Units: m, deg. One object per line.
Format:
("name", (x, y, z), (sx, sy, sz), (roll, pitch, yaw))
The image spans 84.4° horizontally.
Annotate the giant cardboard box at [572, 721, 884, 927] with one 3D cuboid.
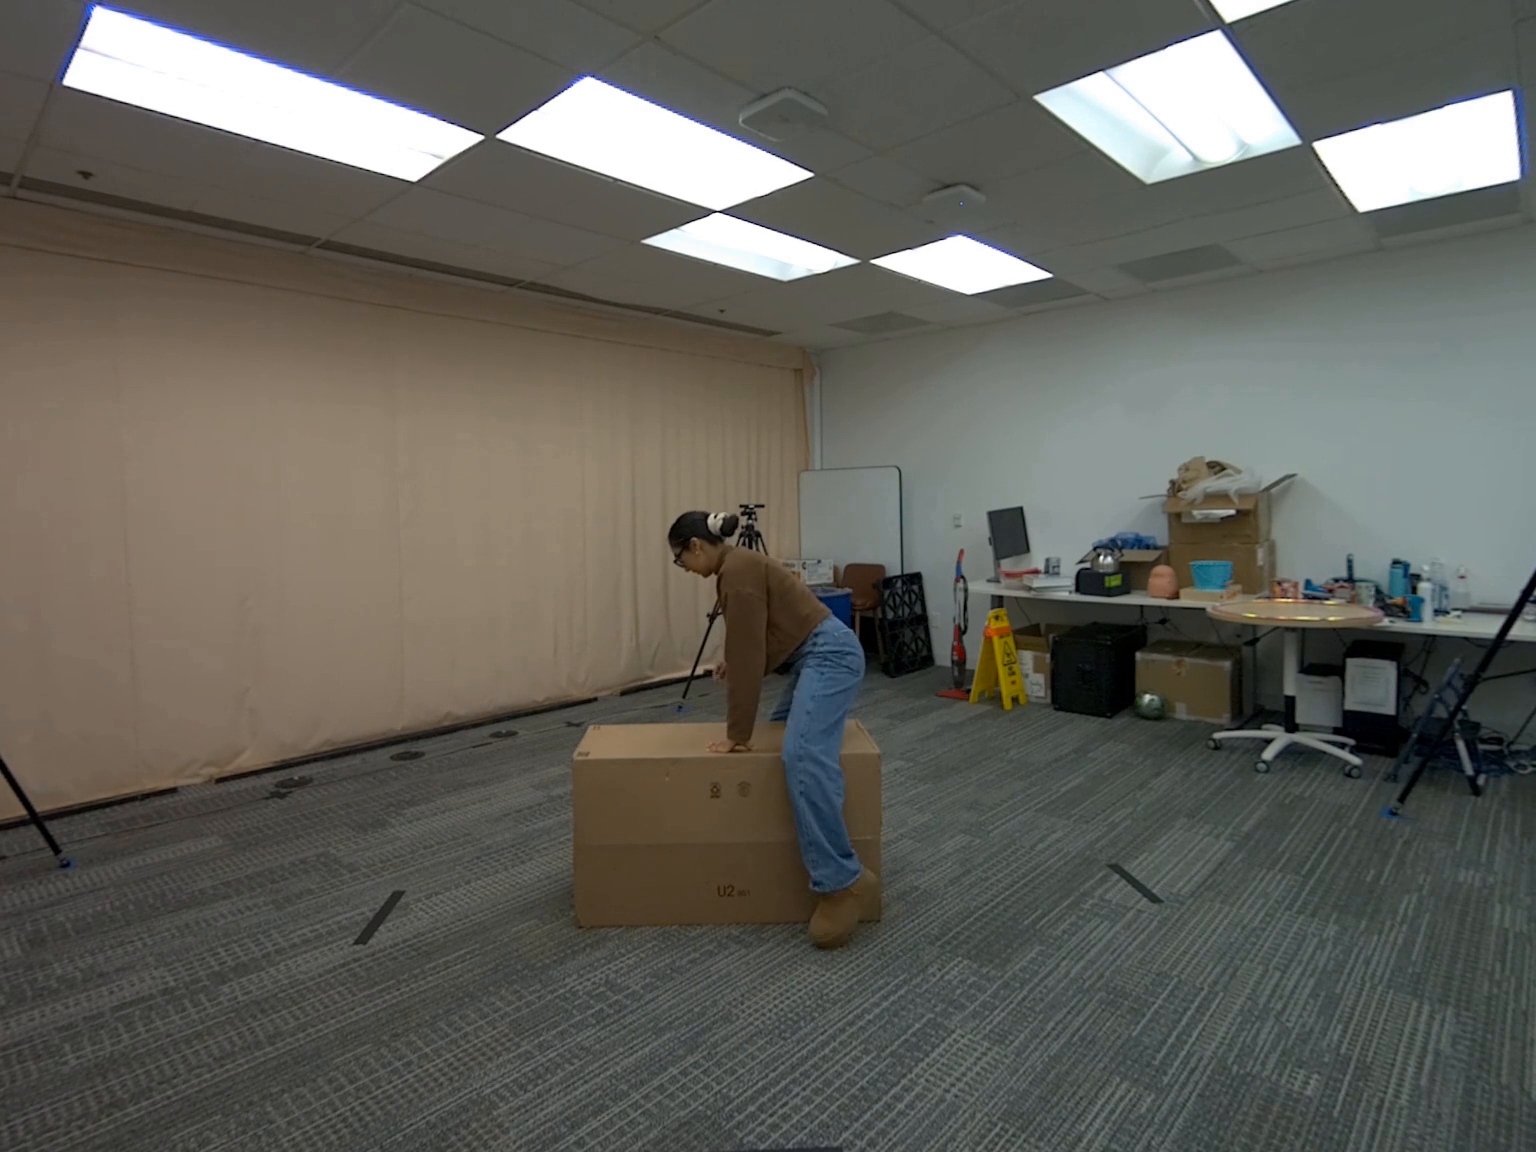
("giant cardboard box", (-0.150, 0.858, 2.996), (1.027, 0.582, 0.448), (-1, 5, 0))
